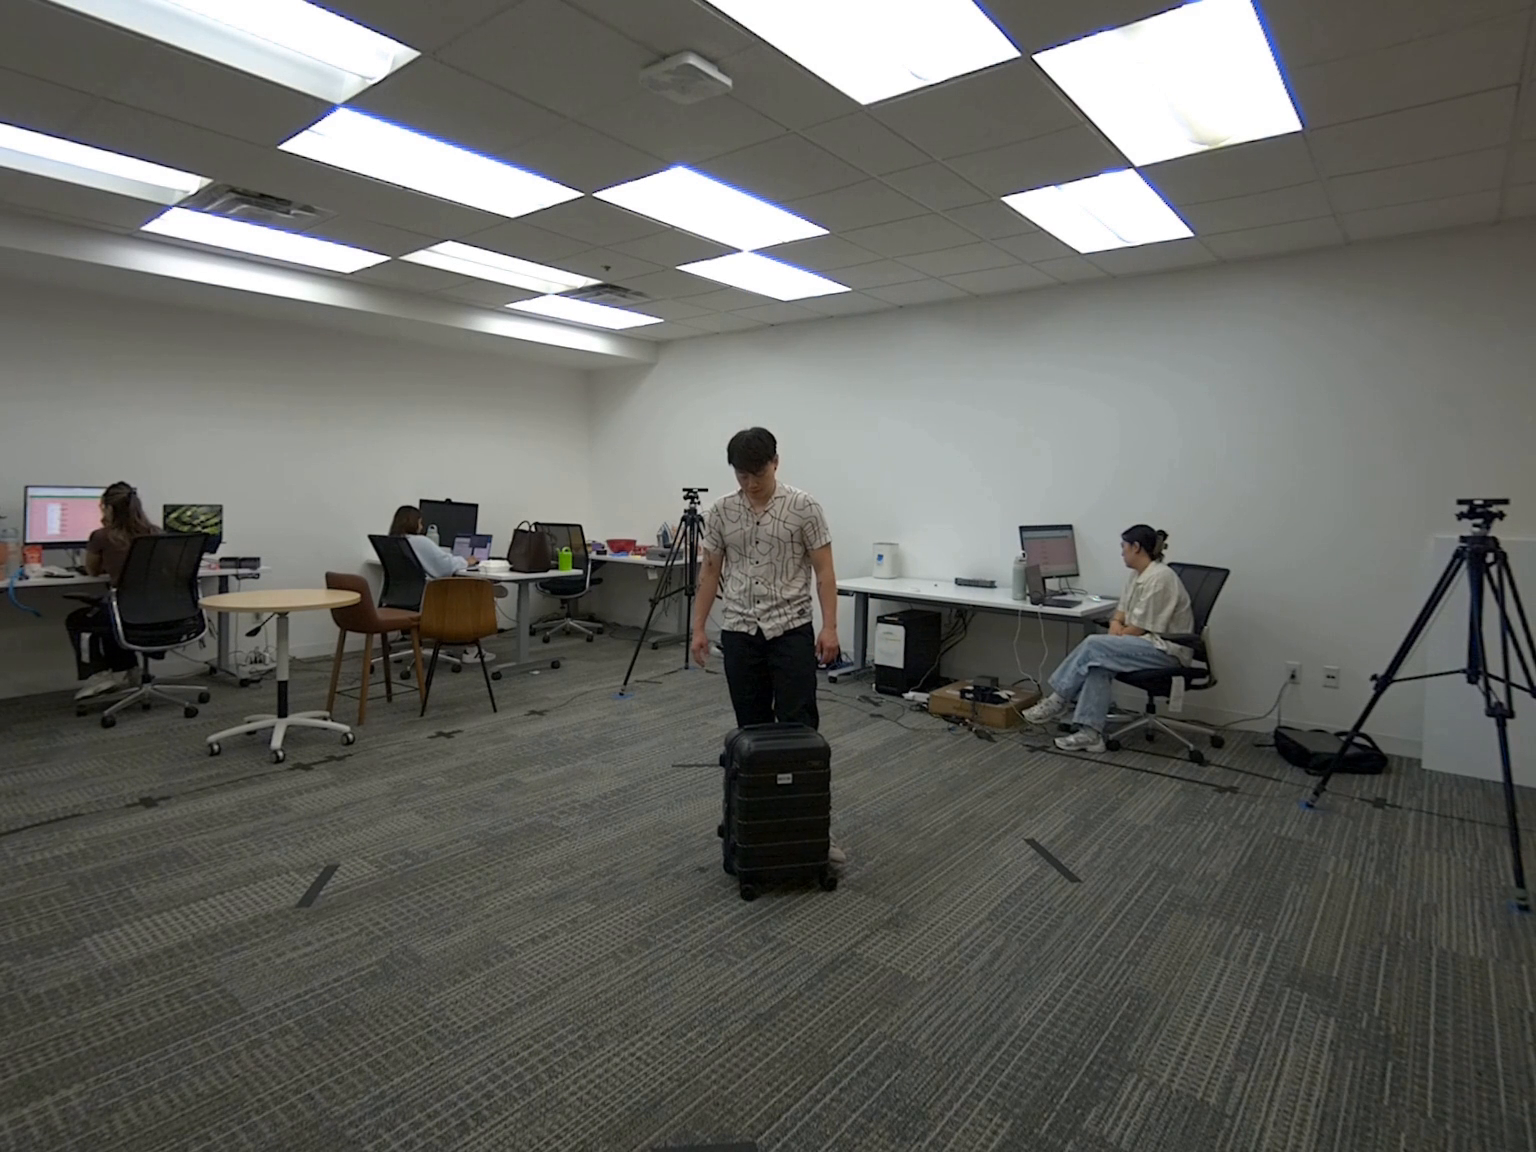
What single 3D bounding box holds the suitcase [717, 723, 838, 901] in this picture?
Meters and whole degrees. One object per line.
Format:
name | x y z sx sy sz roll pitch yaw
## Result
suitcase | 0.024 0.801 3.026 0.369 0.547 0.254 0 4 -18
